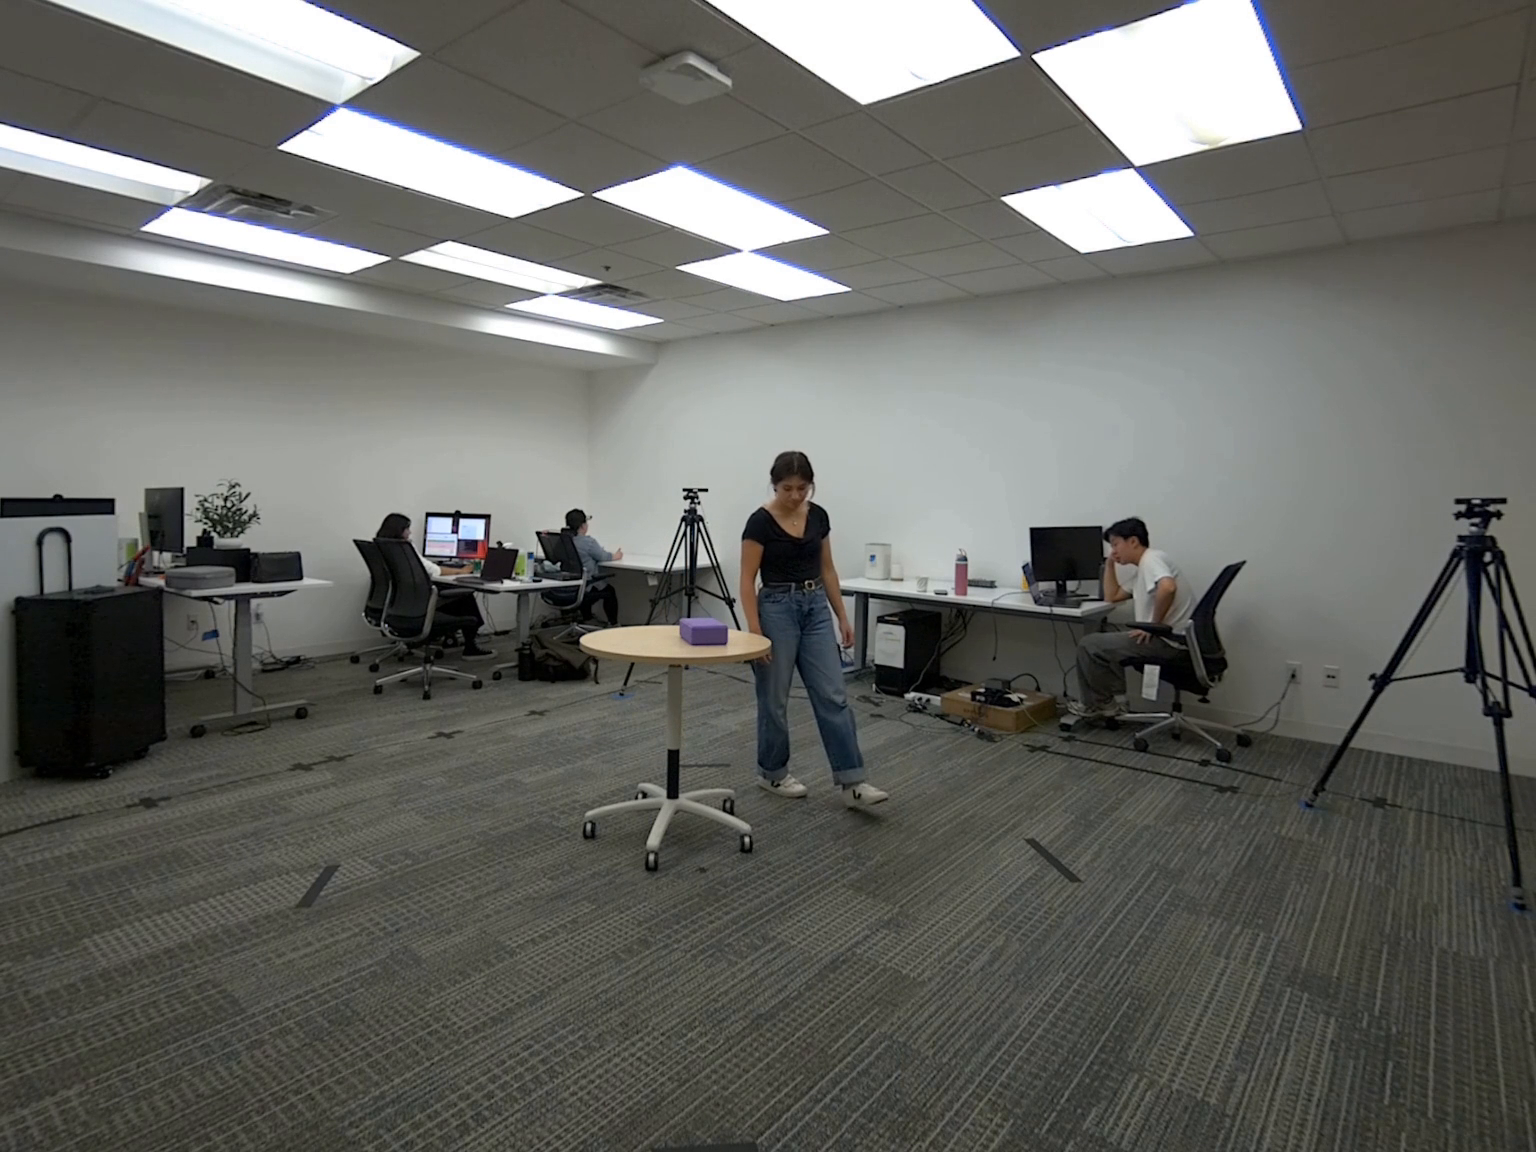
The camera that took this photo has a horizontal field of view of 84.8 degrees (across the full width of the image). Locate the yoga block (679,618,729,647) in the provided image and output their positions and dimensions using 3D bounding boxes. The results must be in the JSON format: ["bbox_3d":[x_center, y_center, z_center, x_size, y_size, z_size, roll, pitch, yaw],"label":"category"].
[{"bbox_3d":[-0.262,0.215,3.413,0.147,0.076,0.234,0,5,-16],"label":"yoga block"}]
